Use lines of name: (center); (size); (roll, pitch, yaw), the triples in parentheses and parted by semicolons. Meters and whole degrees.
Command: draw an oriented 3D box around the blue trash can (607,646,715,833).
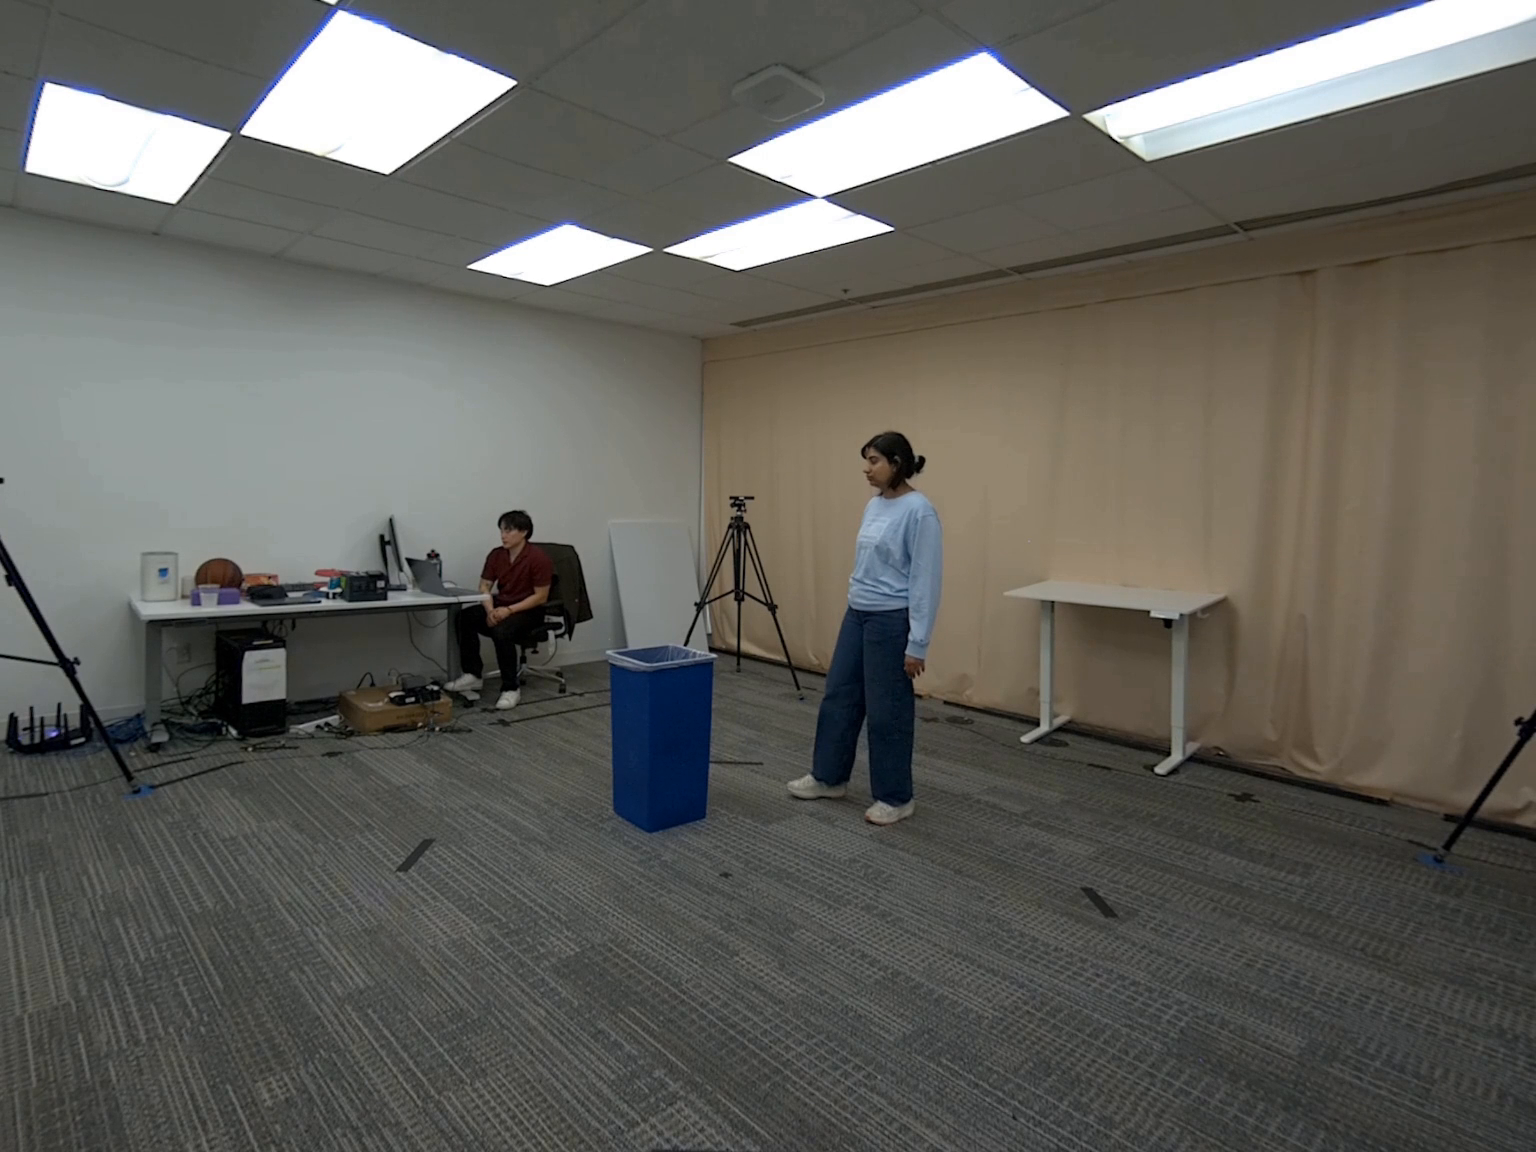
blue trash can: (-0.480, 0.692, 3.657); (0.365, 0.712, 0.387); (-2, 4, -40)
